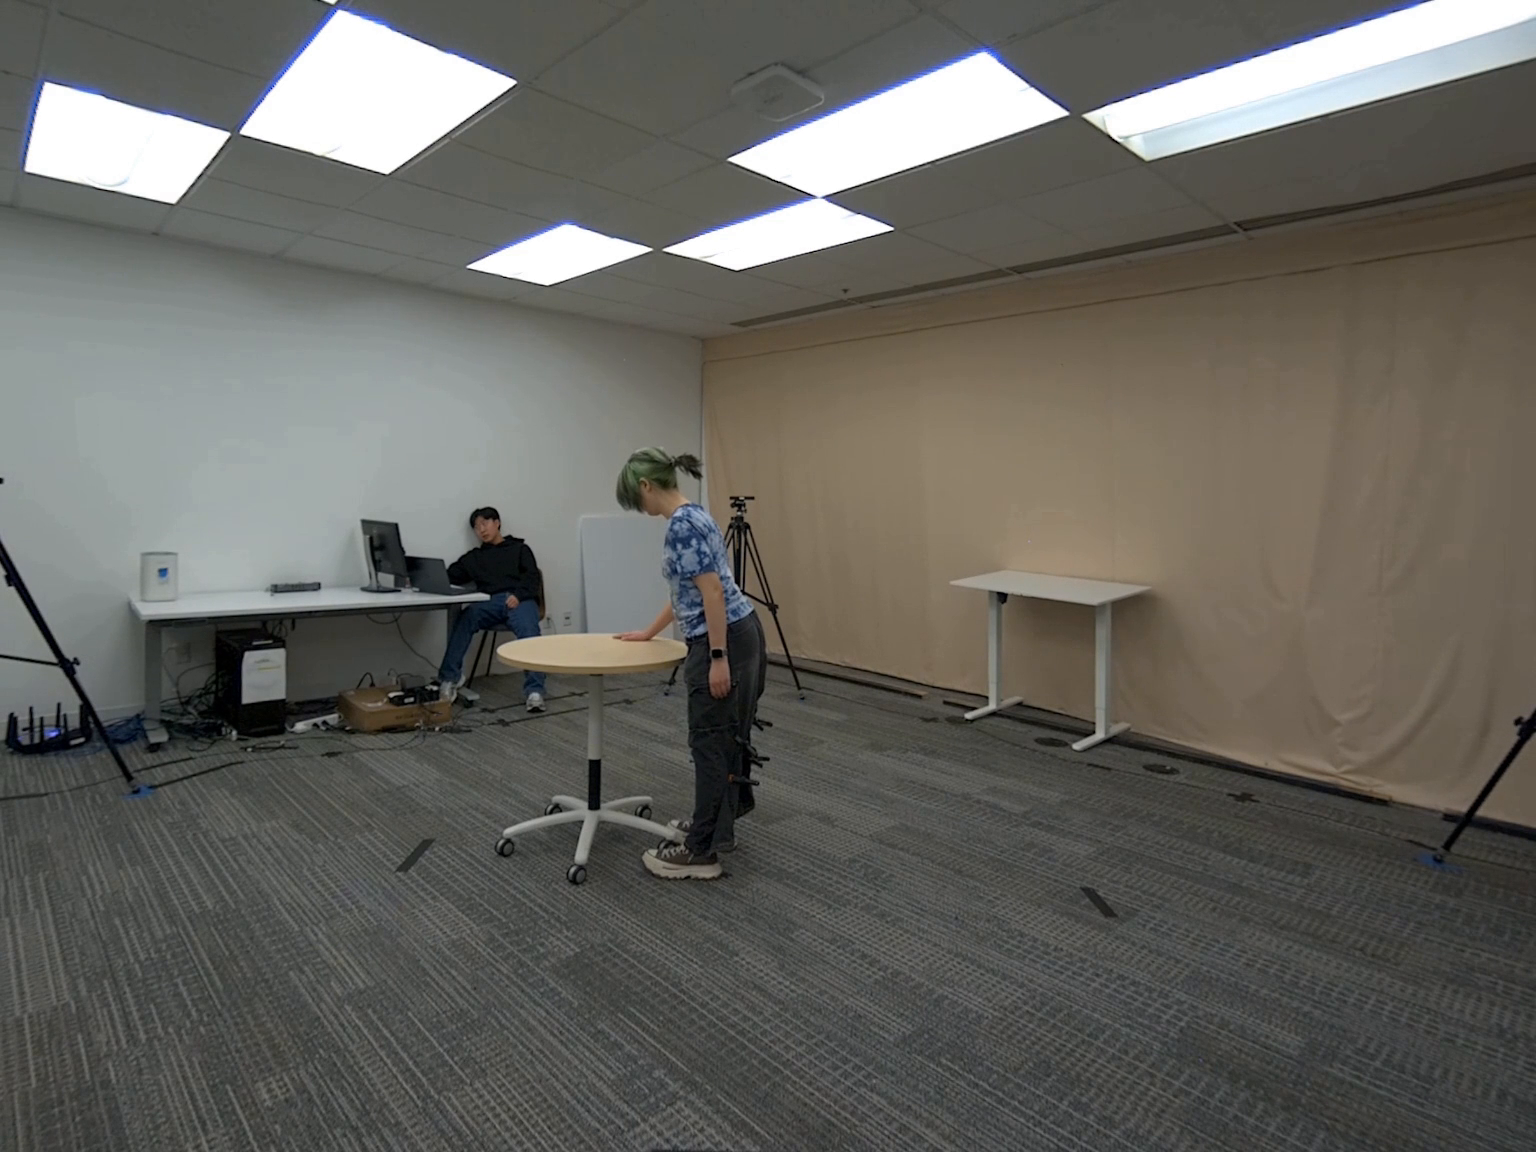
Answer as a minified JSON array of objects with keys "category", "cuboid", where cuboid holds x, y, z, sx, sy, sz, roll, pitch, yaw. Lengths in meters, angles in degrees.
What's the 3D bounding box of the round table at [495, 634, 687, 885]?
[{"category":"round table","cuboid":[-0.680,0.674,3.350,0.784,0.784,0.788,1,4,-1]}]
